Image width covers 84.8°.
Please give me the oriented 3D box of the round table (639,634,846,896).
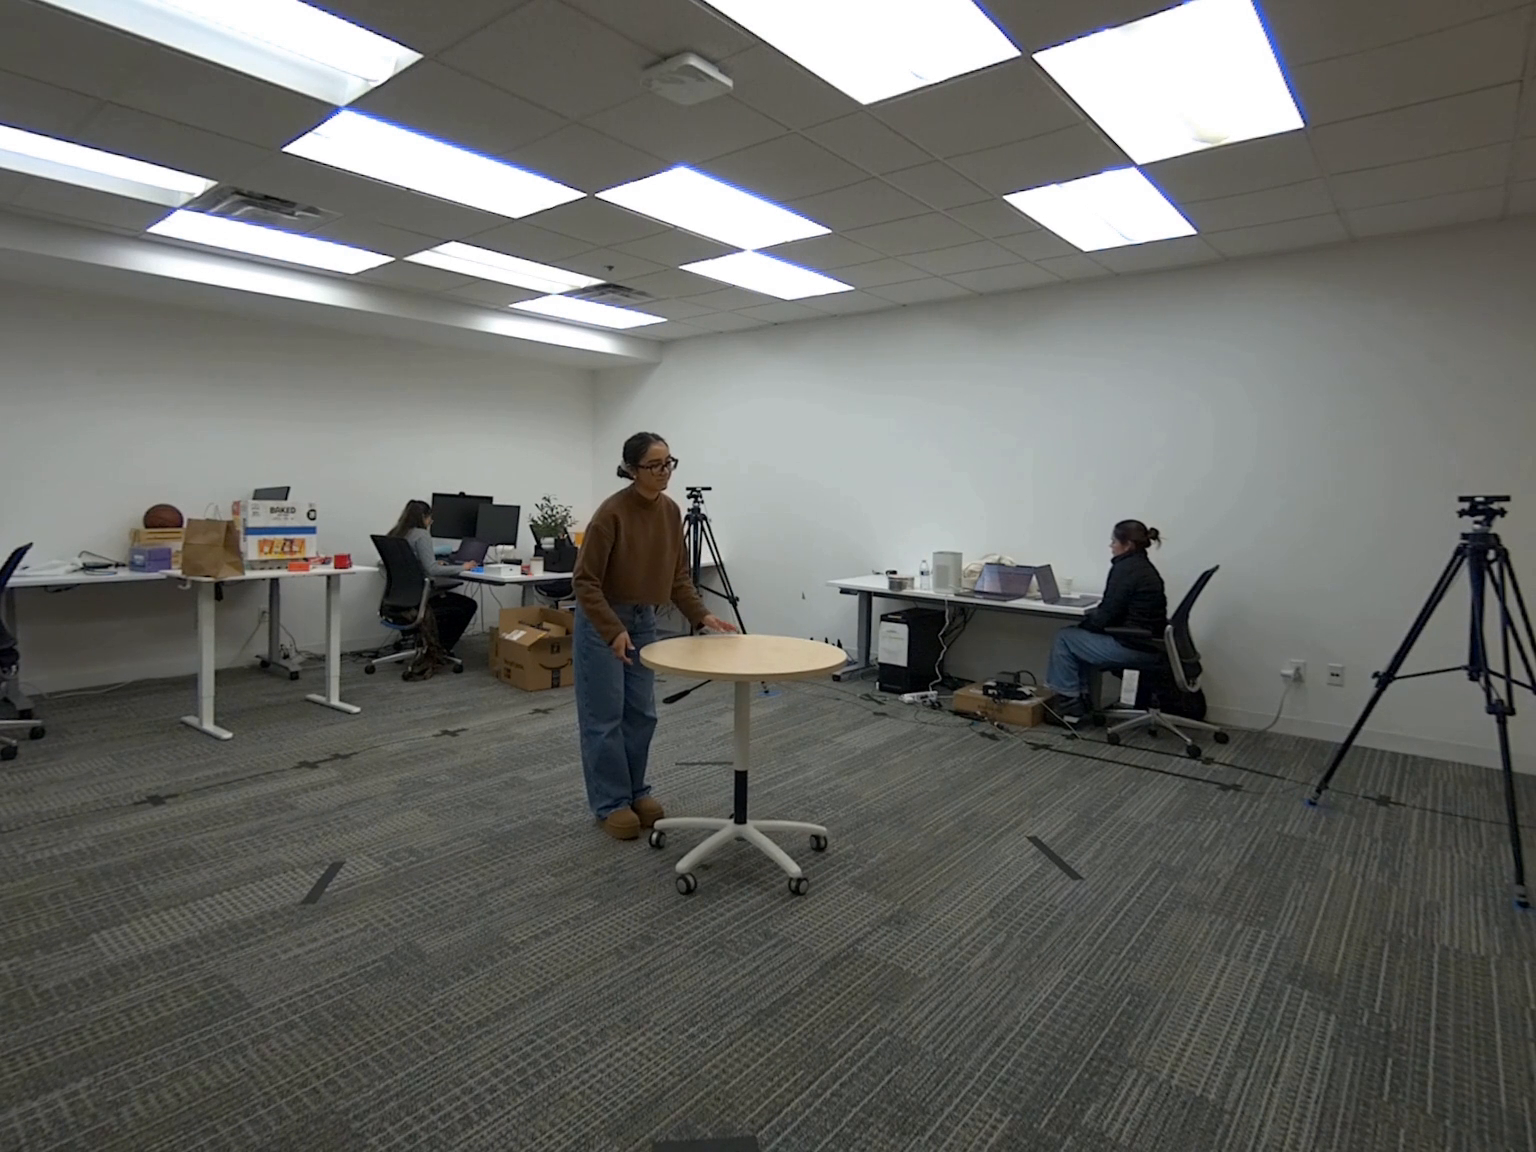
[{"bbox_3d":[-0.107,0.672,3.173,0.763,0.791,0.768,1,4,-2],"label":"round table"}]
